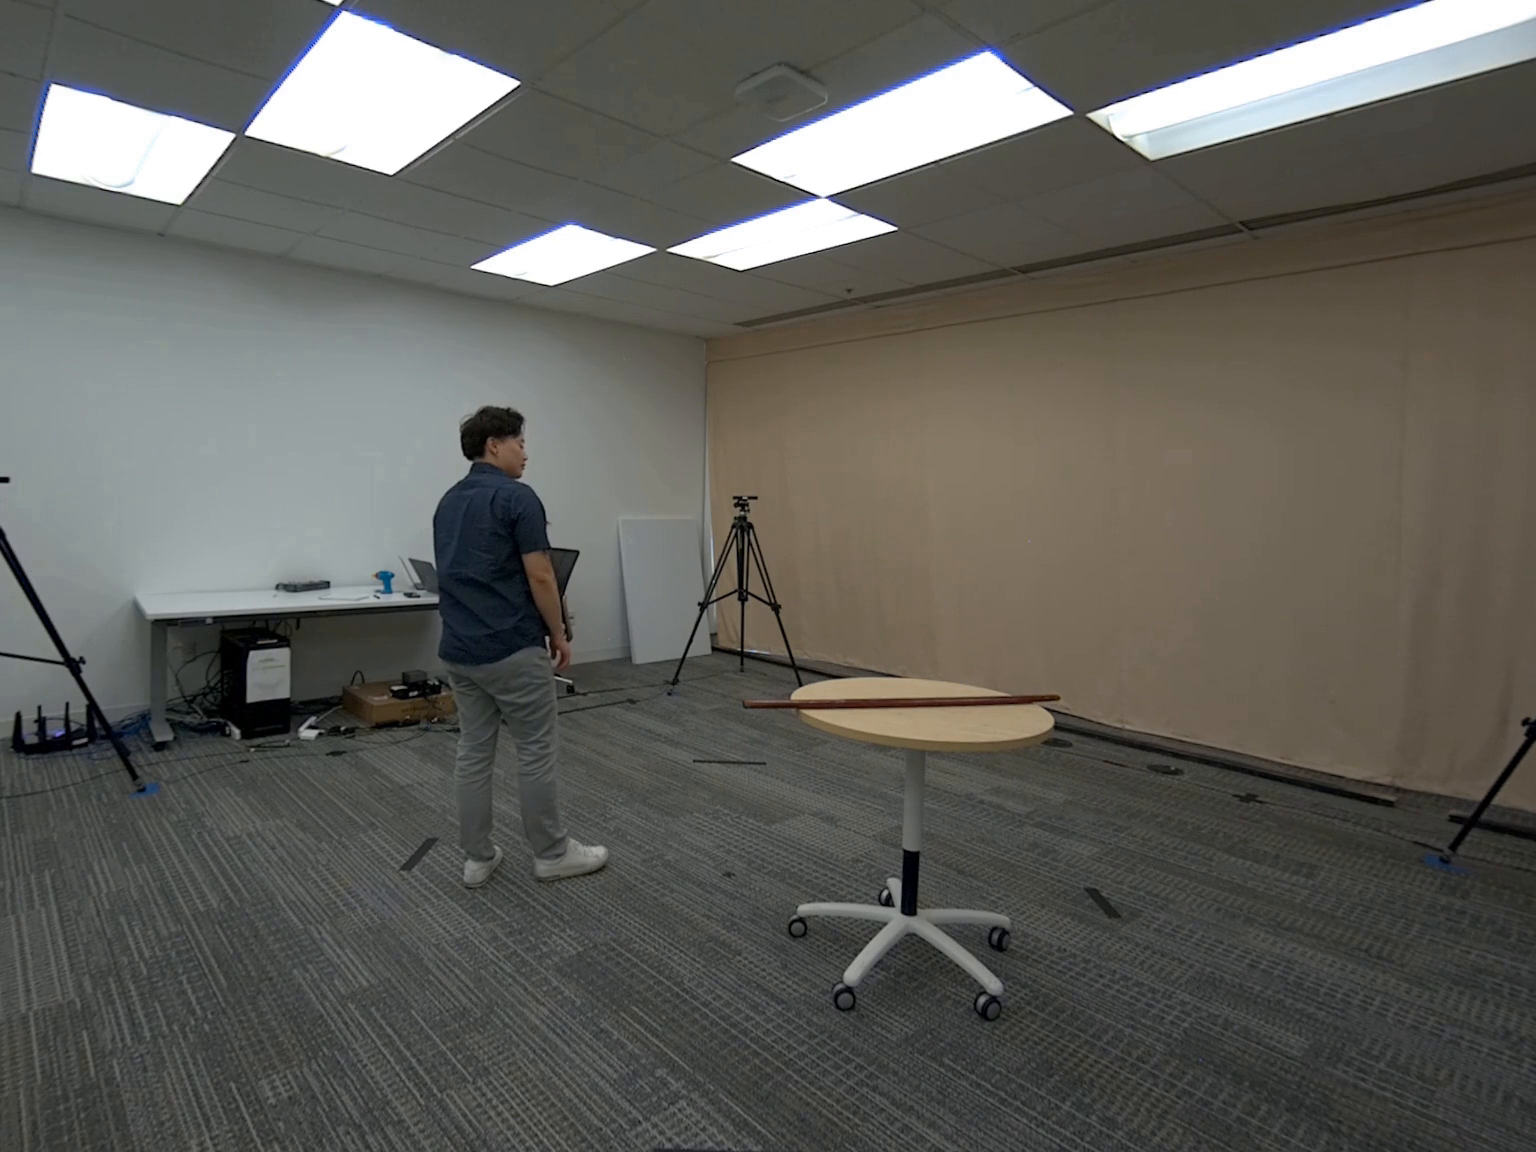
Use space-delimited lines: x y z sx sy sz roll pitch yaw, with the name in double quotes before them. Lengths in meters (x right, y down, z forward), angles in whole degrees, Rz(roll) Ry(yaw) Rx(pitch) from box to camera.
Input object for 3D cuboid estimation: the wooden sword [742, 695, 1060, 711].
"wooden sword" 0.376 0.367 2.503 1.015 0.024 0.051 1 -5 -11
